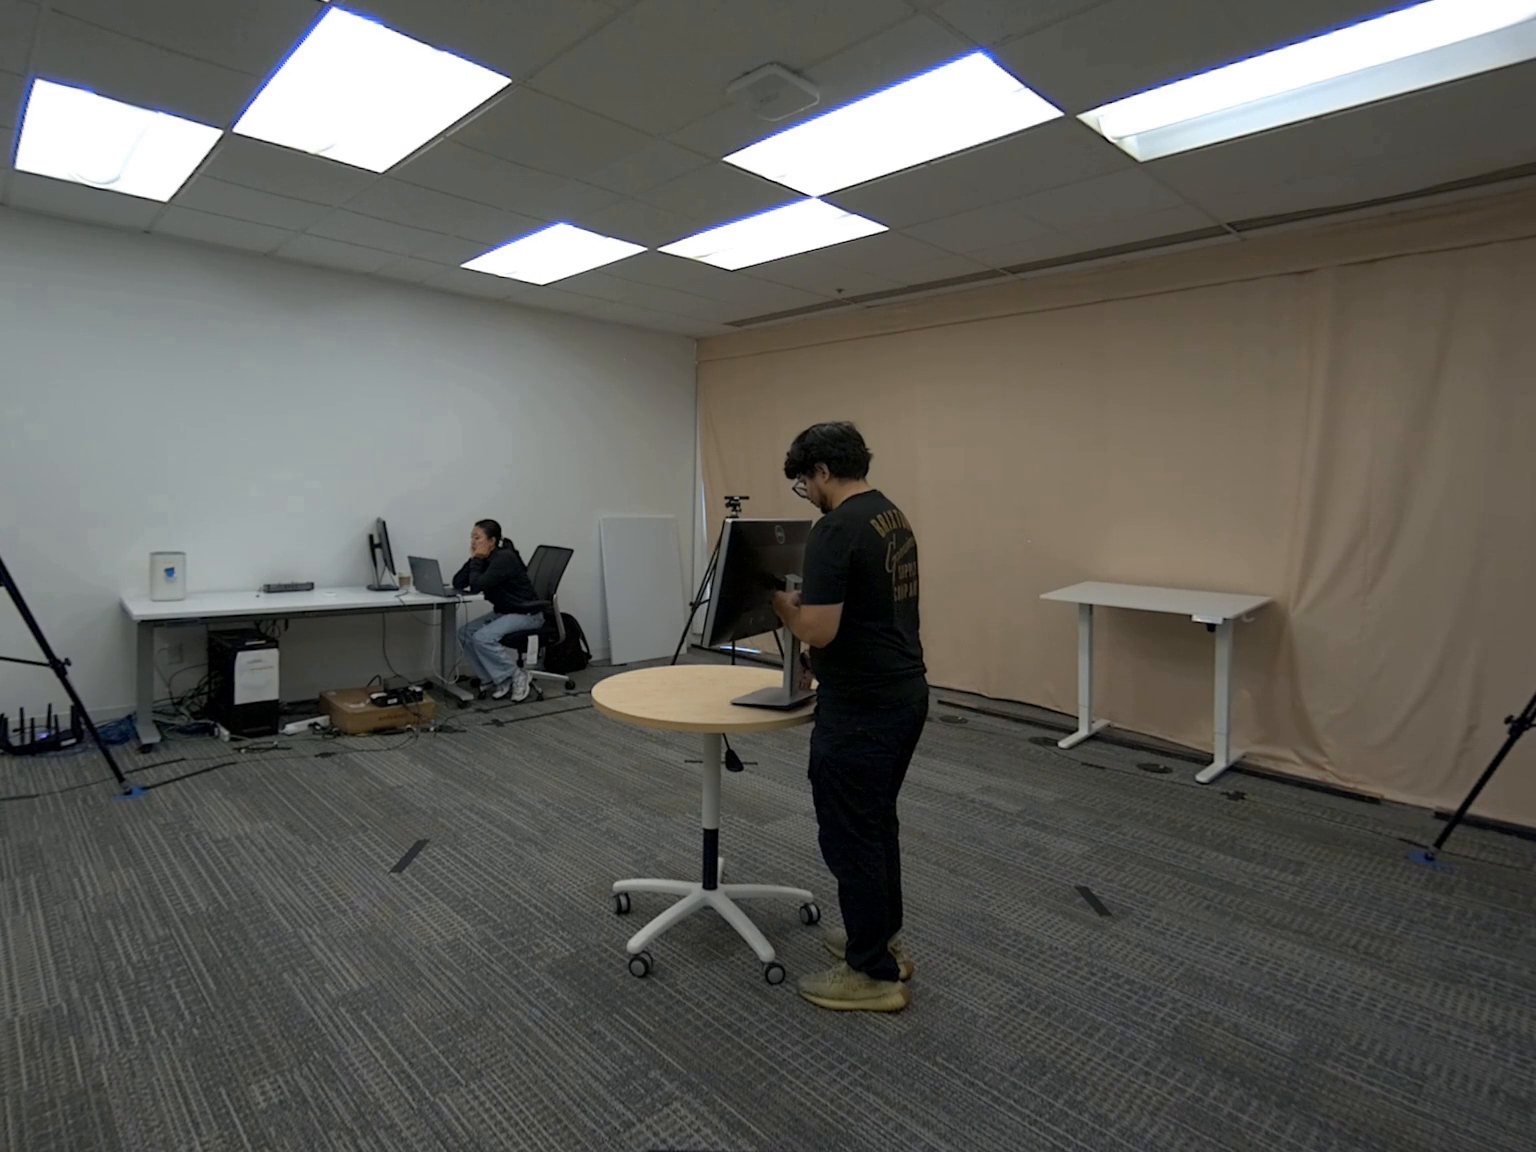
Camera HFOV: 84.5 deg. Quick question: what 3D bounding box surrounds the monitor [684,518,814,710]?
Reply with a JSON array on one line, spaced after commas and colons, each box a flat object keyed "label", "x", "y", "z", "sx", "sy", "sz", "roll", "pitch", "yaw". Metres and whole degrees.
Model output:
[{"label": "monitor", "x": 0.035, "y": 0.107, "z": 2.523, "sx": 0.215, "sy": 0.552, "sz": 0.555, "roll": 7, "pitch": 6, "yaw": 28}]
